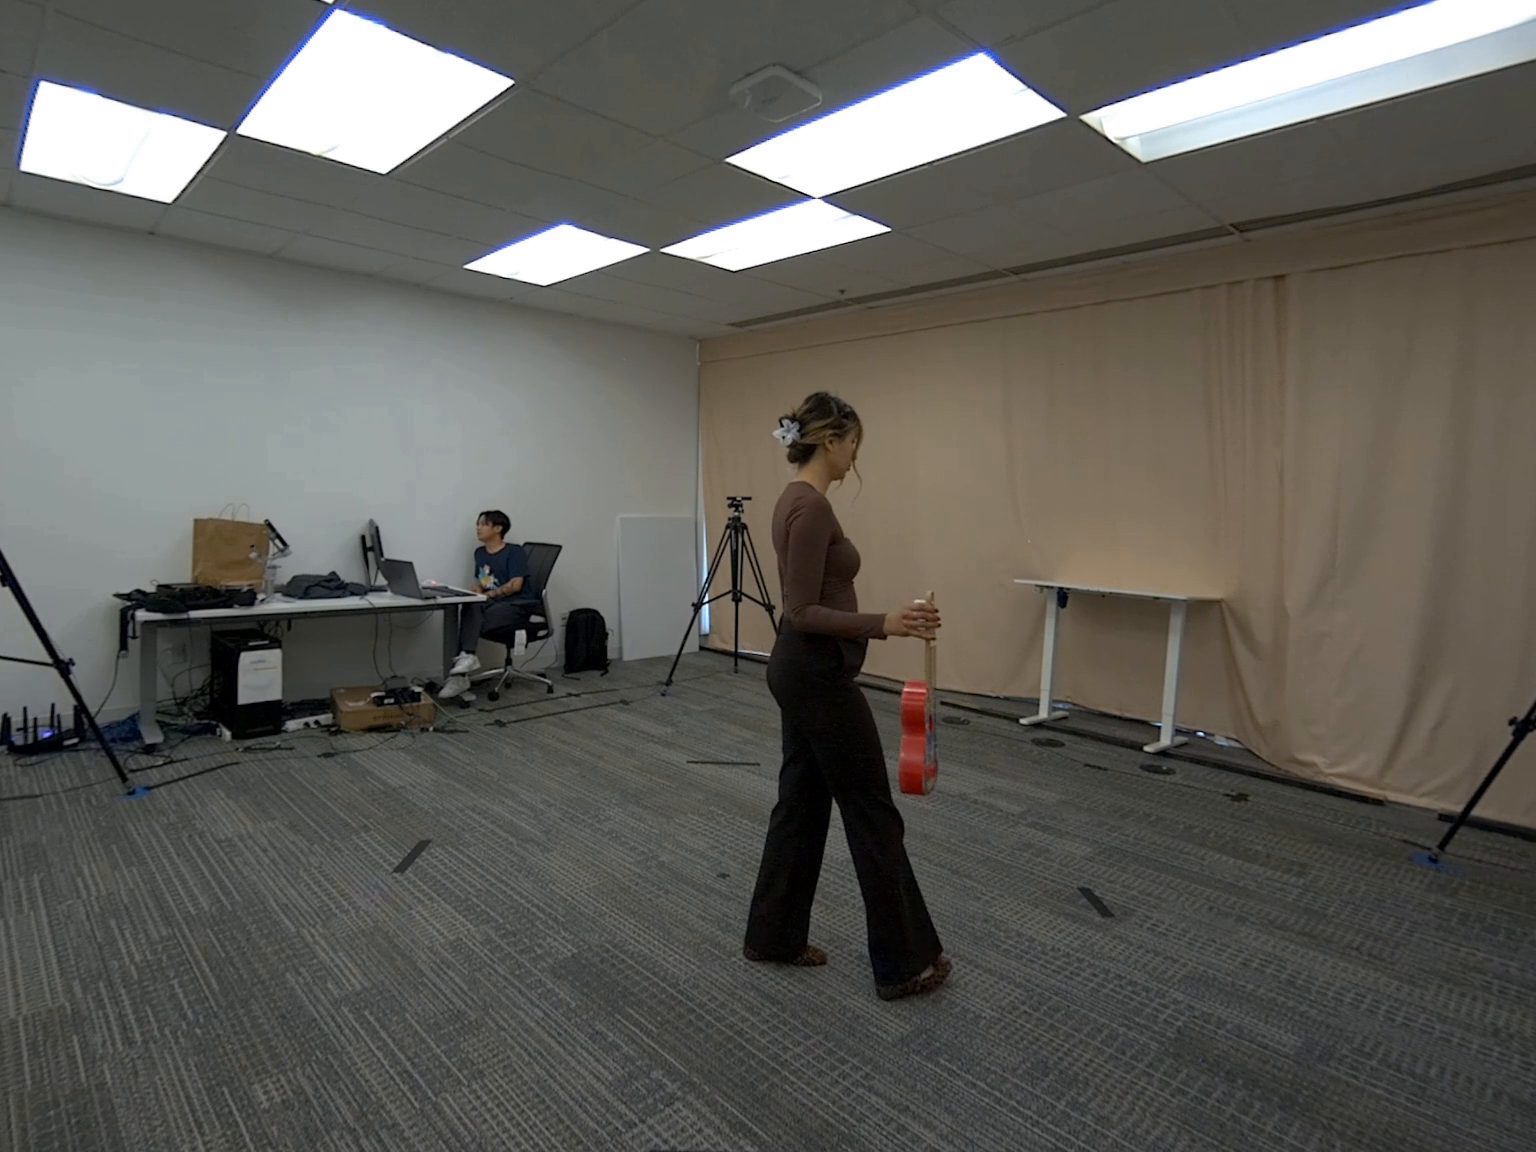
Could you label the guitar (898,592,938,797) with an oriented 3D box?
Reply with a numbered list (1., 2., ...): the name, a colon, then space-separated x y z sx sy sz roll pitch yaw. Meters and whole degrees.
1. guitar: 0.380 0.295 2.130 0.072 0.501 0.189 -1 -9 19
